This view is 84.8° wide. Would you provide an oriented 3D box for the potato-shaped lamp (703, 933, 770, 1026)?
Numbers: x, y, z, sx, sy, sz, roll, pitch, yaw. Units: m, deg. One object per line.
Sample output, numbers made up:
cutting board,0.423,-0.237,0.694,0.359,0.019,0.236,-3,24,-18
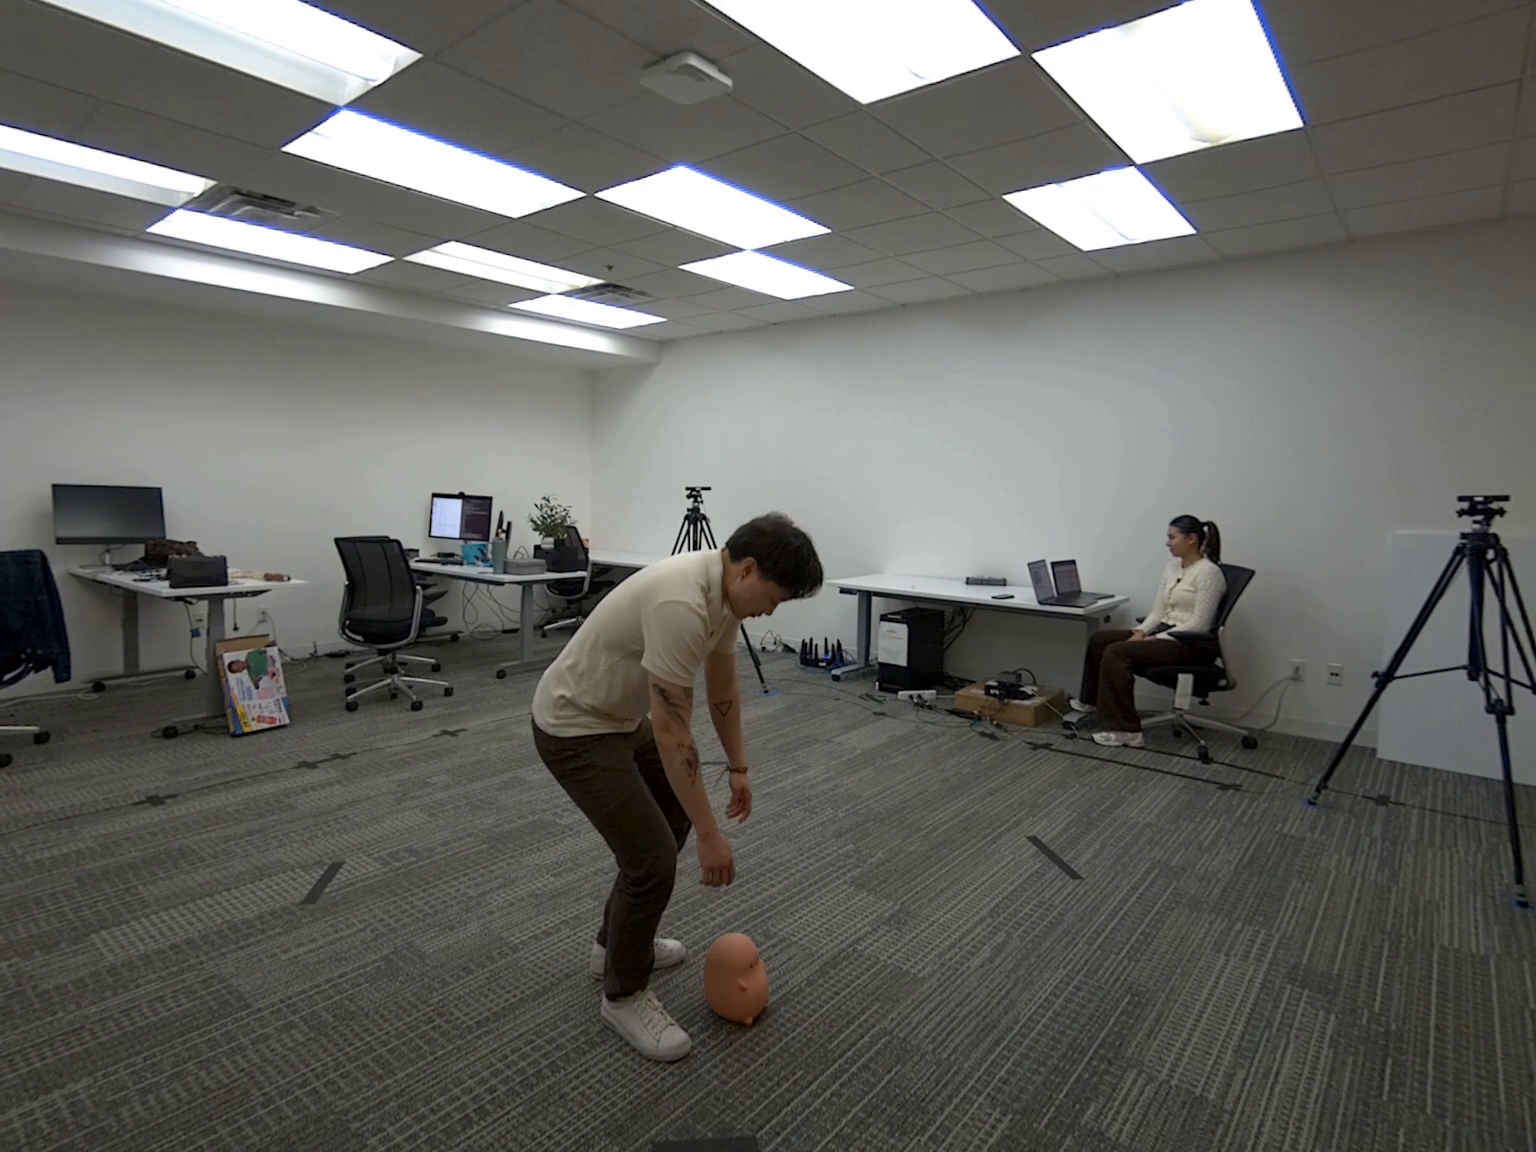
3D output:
potato-shaped lamp,-0.088,1.057,2.262,0.175,0.197,0.162,-1,5,18
